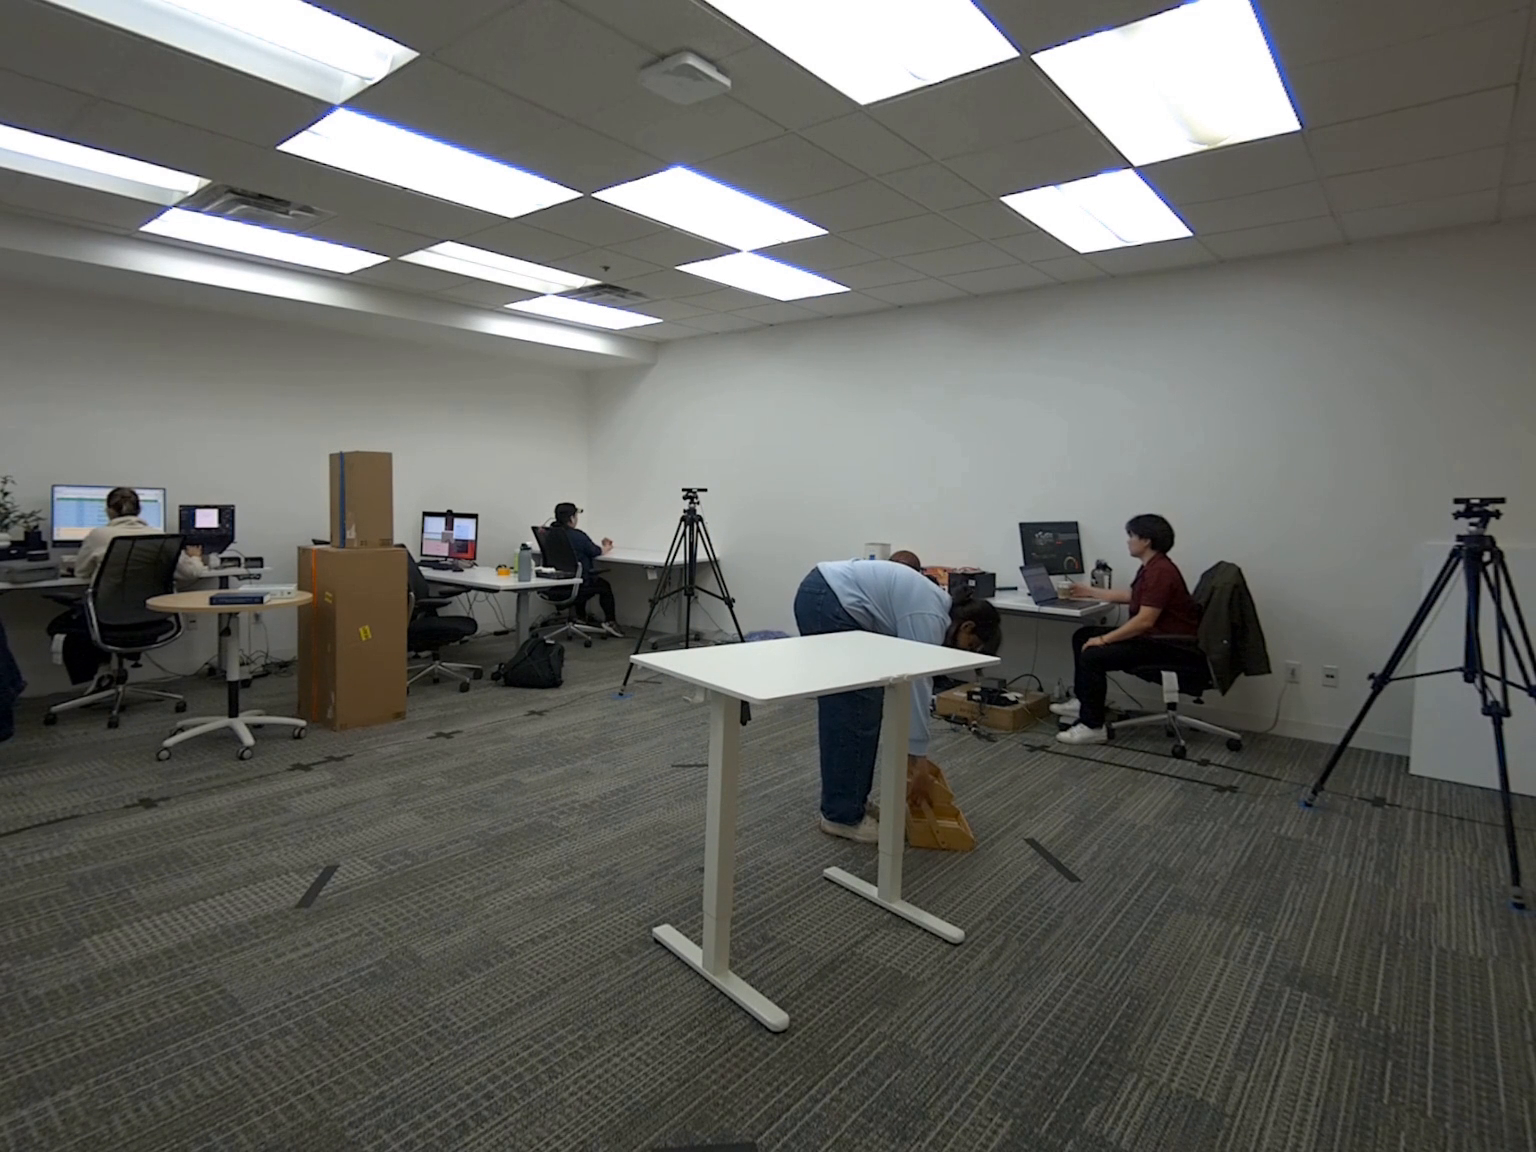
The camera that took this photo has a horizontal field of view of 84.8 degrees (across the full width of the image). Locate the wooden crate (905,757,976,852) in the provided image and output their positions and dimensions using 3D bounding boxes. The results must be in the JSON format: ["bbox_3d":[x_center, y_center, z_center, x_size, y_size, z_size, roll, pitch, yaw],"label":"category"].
[{"bbox_3d":[0.669,0.913,3.484,0.304,0.272,0.324,3,5,3],"label":"wooden crate"}]
